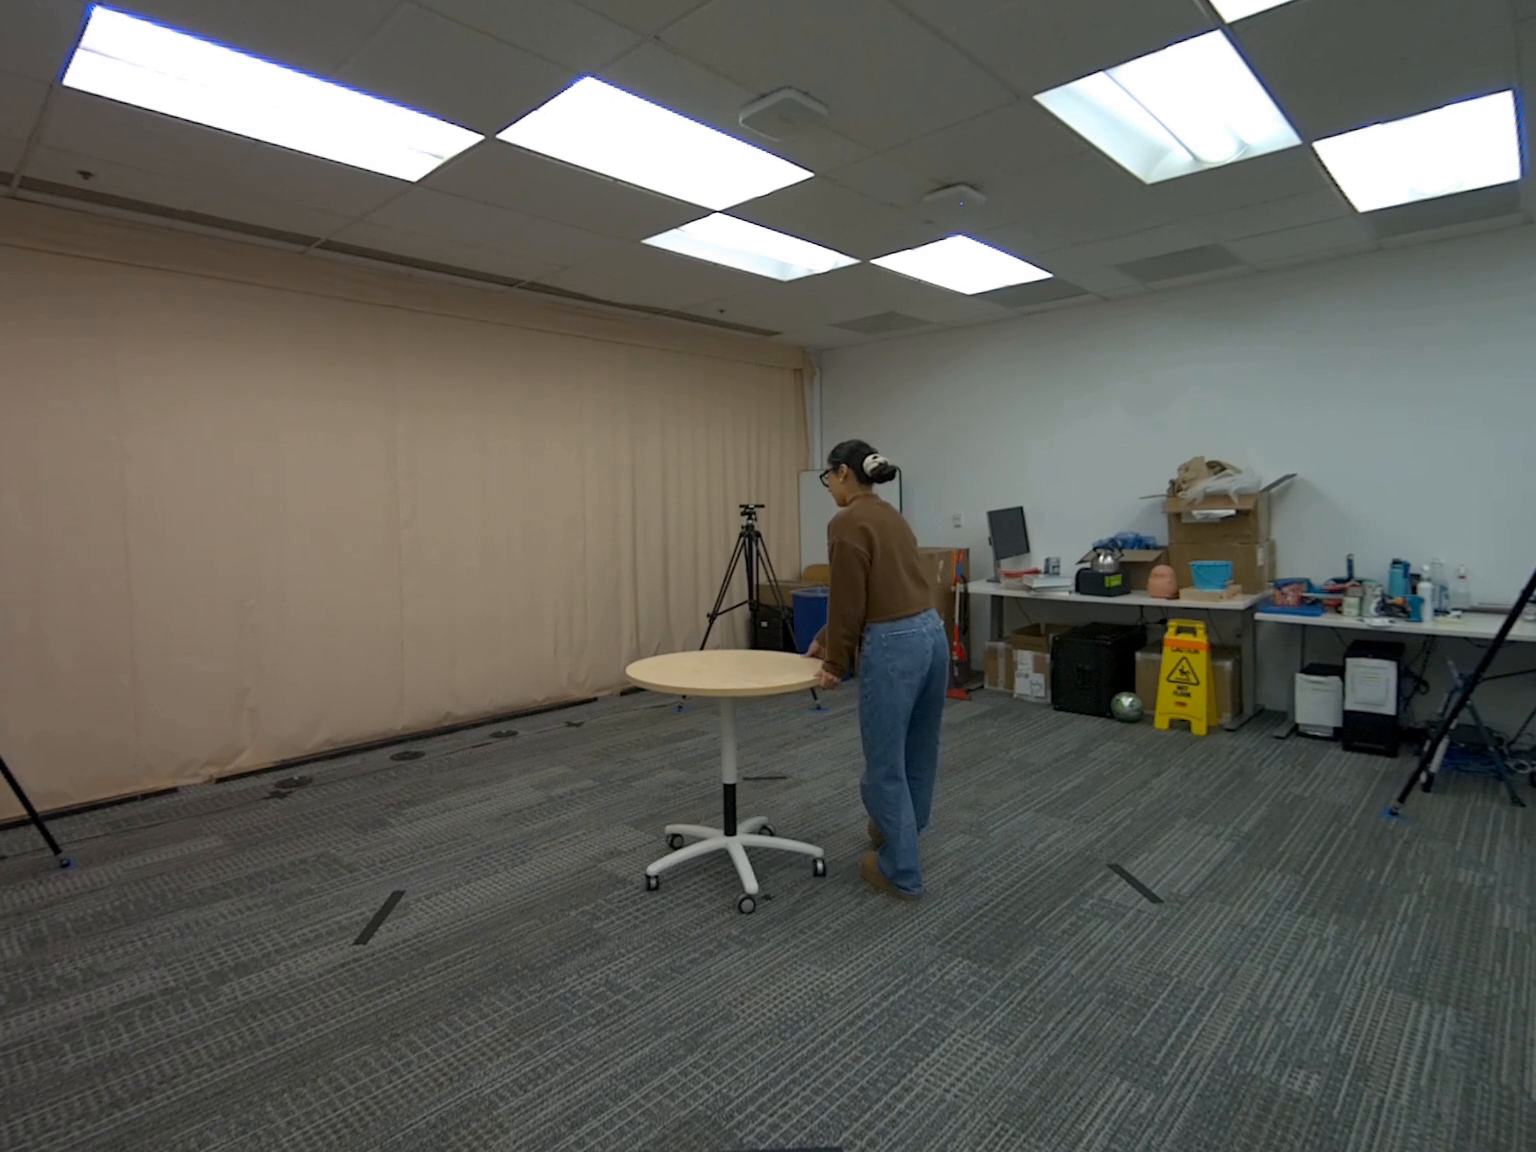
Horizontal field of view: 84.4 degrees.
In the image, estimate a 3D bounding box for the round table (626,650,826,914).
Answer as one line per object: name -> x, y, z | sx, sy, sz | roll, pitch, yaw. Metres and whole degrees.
round table -> -0.135, 0.731, 3.204 | 0.784, 0.785, 0.788 | -1, 4, -2
